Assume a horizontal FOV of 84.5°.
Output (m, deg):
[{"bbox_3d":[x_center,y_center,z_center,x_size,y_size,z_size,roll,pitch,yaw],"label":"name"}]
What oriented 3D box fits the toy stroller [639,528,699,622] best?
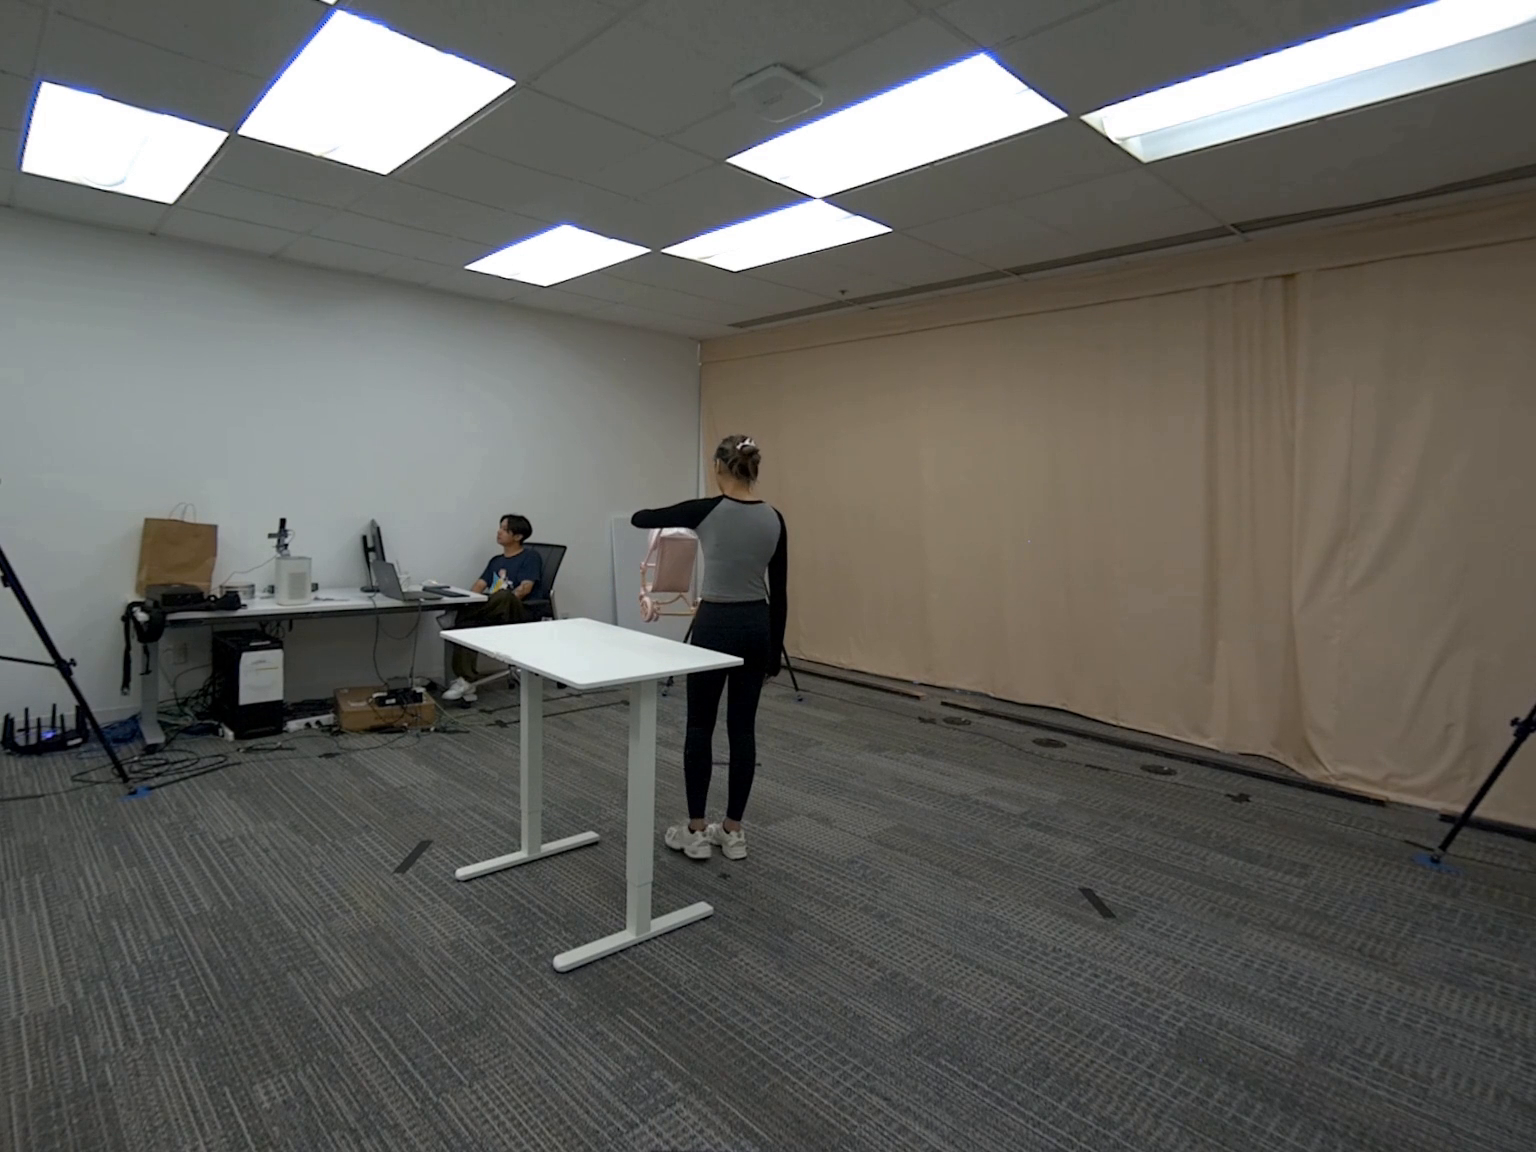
[{"bbox_3d":[-0.448,-0.023,3.769,0.276,0.532,0.349,3,9,-23],"label":"toy stroller"}]
